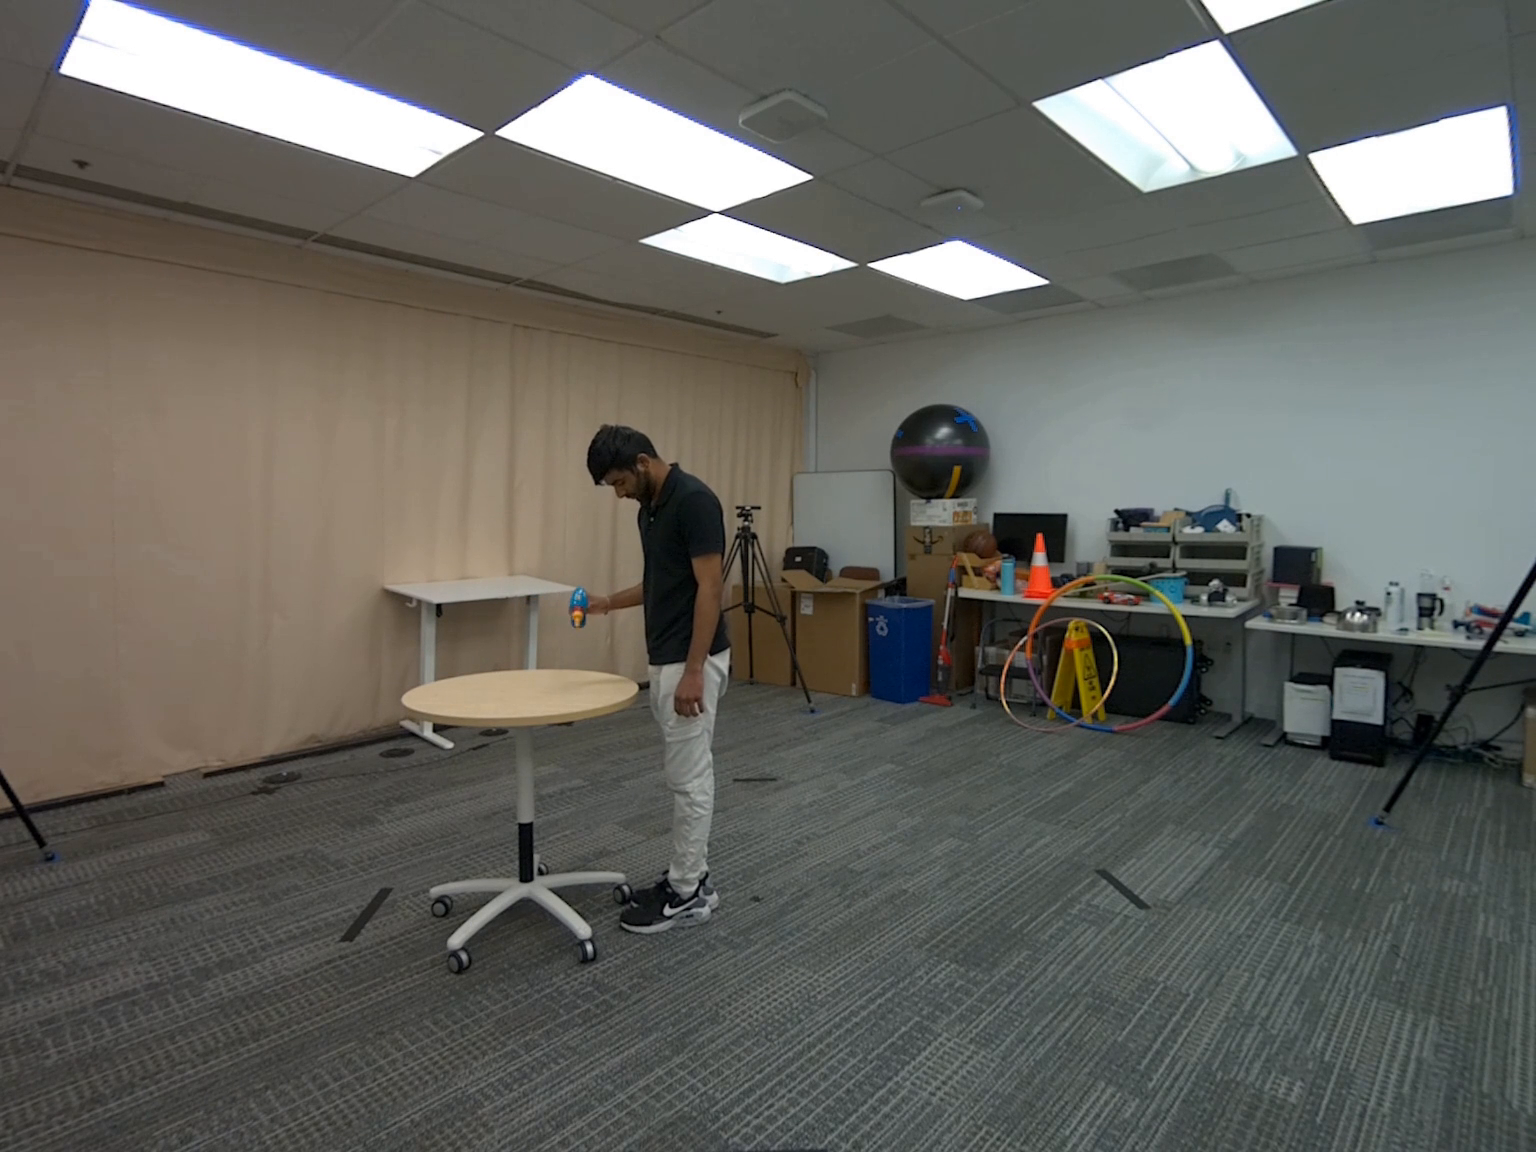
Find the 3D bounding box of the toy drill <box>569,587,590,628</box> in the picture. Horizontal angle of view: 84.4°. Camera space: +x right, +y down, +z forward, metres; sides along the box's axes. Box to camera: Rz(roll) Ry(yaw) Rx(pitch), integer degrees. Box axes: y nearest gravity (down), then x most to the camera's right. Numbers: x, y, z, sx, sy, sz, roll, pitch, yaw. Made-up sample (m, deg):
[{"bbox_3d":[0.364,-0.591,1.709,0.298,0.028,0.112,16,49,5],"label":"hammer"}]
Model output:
[{"bbox_3d":[-0.649,0.138,2.907,0.061,0.173,0.144,3,-42,-7],"label":"toy drill"}]
